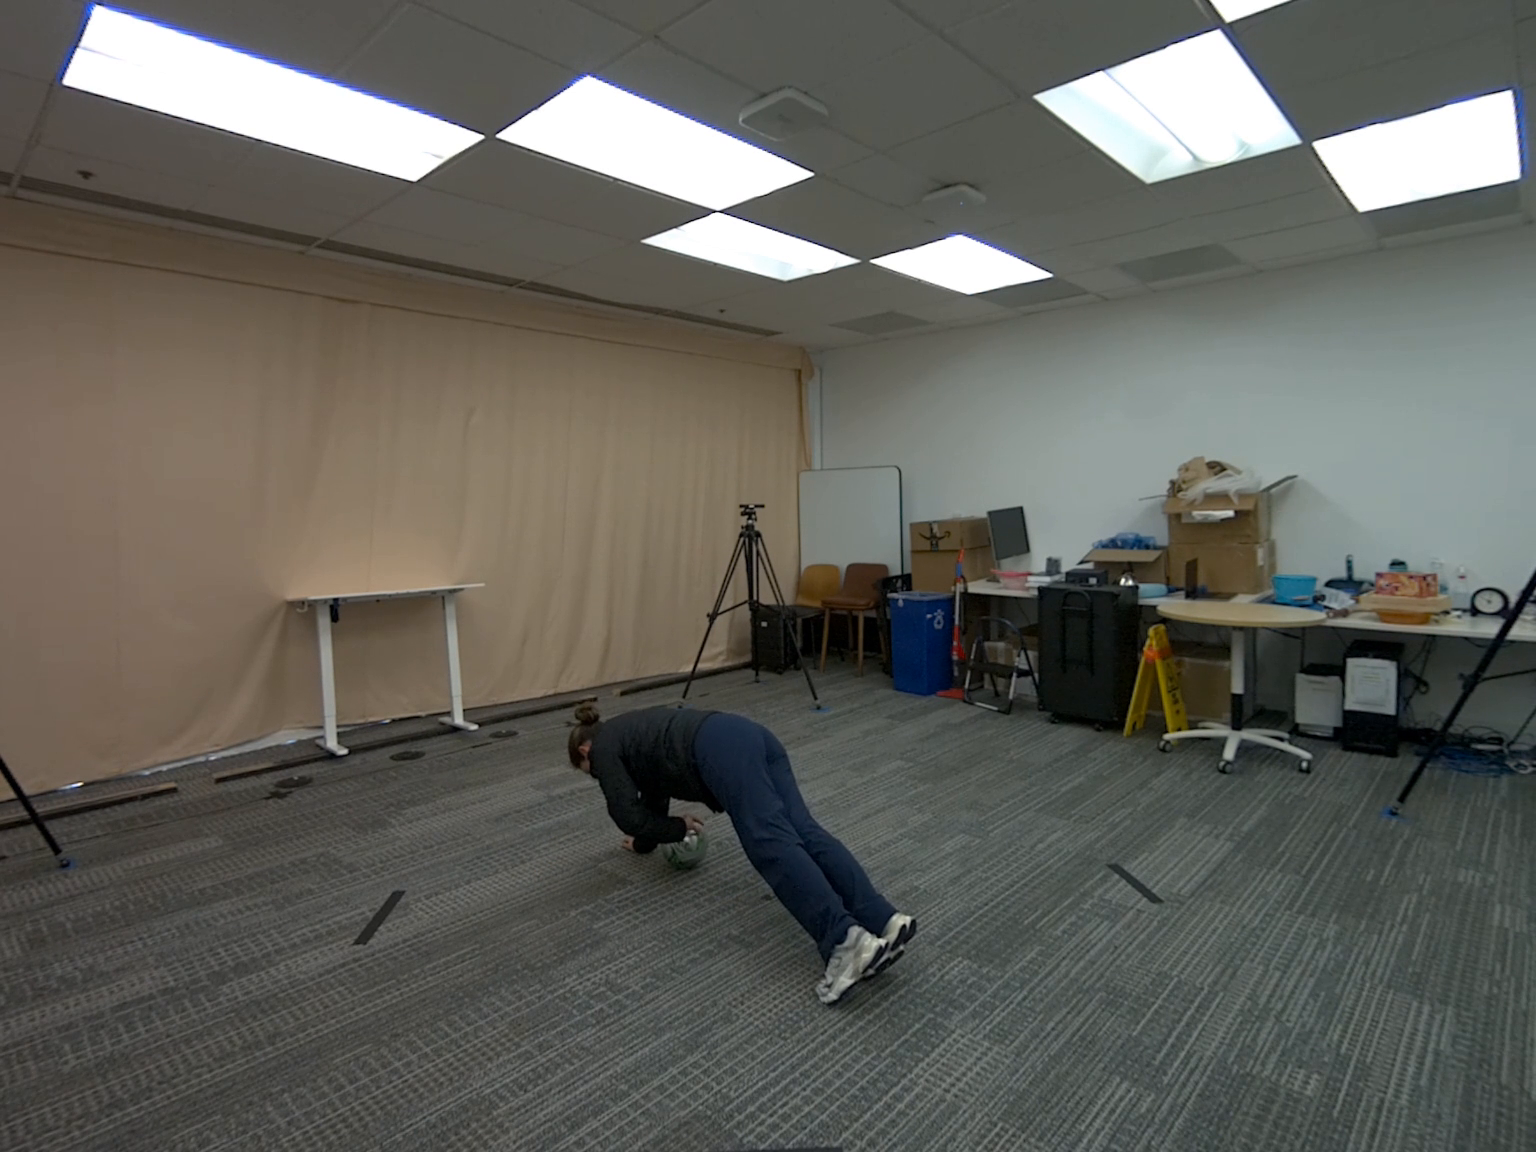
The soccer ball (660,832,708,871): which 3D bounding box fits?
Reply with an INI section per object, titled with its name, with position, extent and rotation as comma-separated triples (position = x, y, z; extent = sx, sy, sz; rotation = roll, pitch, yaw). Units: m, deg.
[soccer ball]
position = -0.330, 1.030, 3.248
extent = 0.187, 0.187, 0.188
rotation = -1, 4, -2
